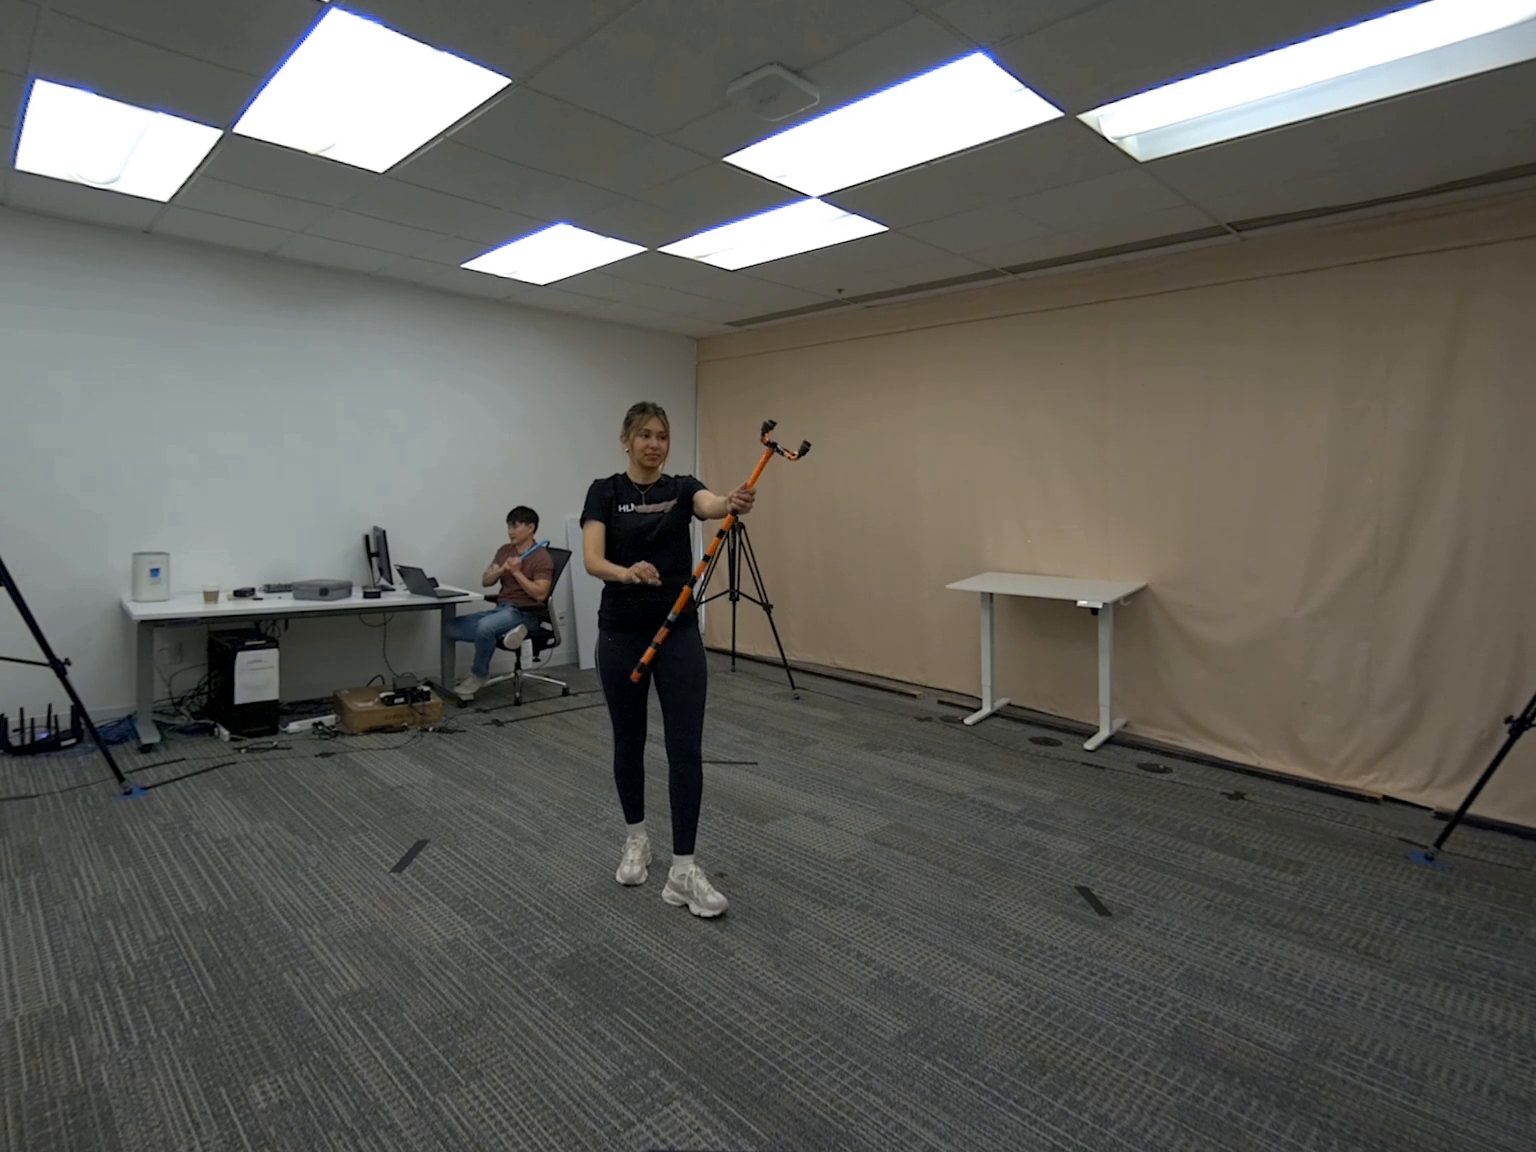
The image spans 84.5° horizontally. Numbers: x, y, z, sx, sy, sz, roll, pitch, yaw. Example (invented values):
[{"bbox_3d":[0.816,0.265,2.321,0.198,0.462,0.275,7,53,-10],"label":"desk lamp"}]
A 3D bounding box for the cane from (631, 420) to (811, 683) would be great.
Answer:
[{"bbox_3d":[-0.171,-0.042,2.535,0.152,0.905,0.207,32,13,0],"label":"cane"}]
